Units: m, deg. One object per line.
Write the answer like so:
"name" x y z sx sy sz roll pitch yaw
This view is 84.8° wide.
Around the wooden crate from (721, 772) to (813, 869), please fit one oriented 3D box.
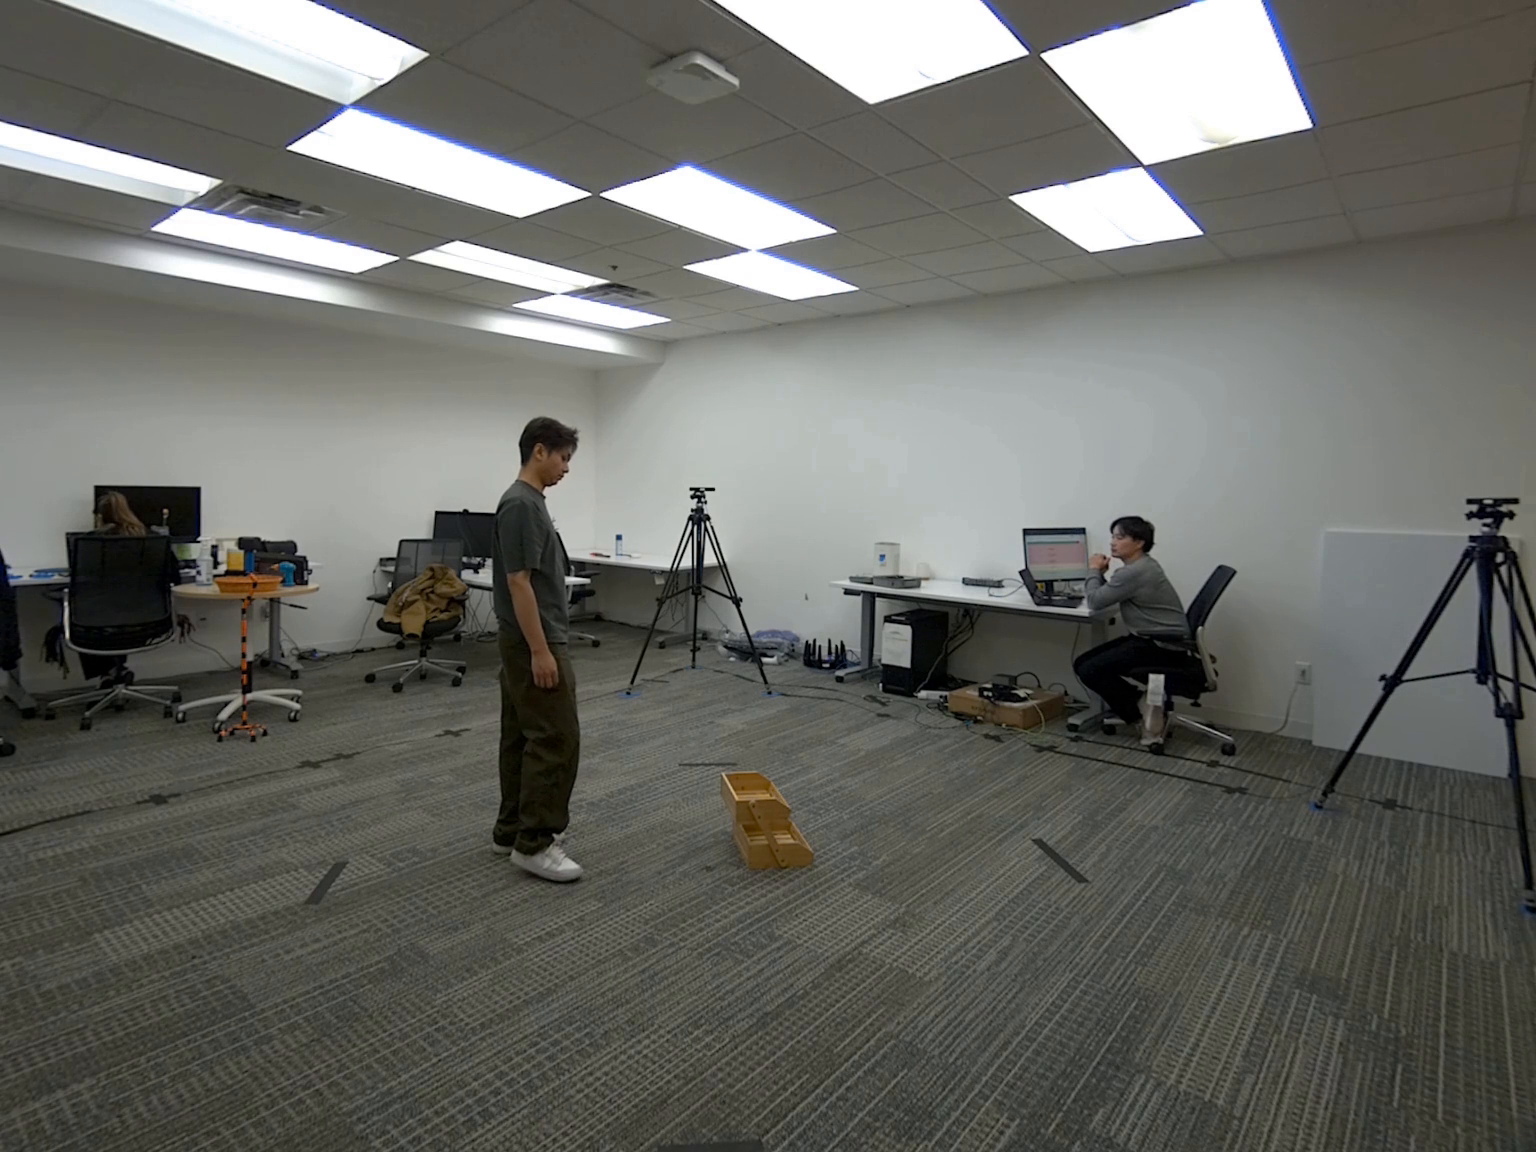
"wooden crate" -0.011 0.920 3.262 0.298 0.272 0.330 0 5 -13
